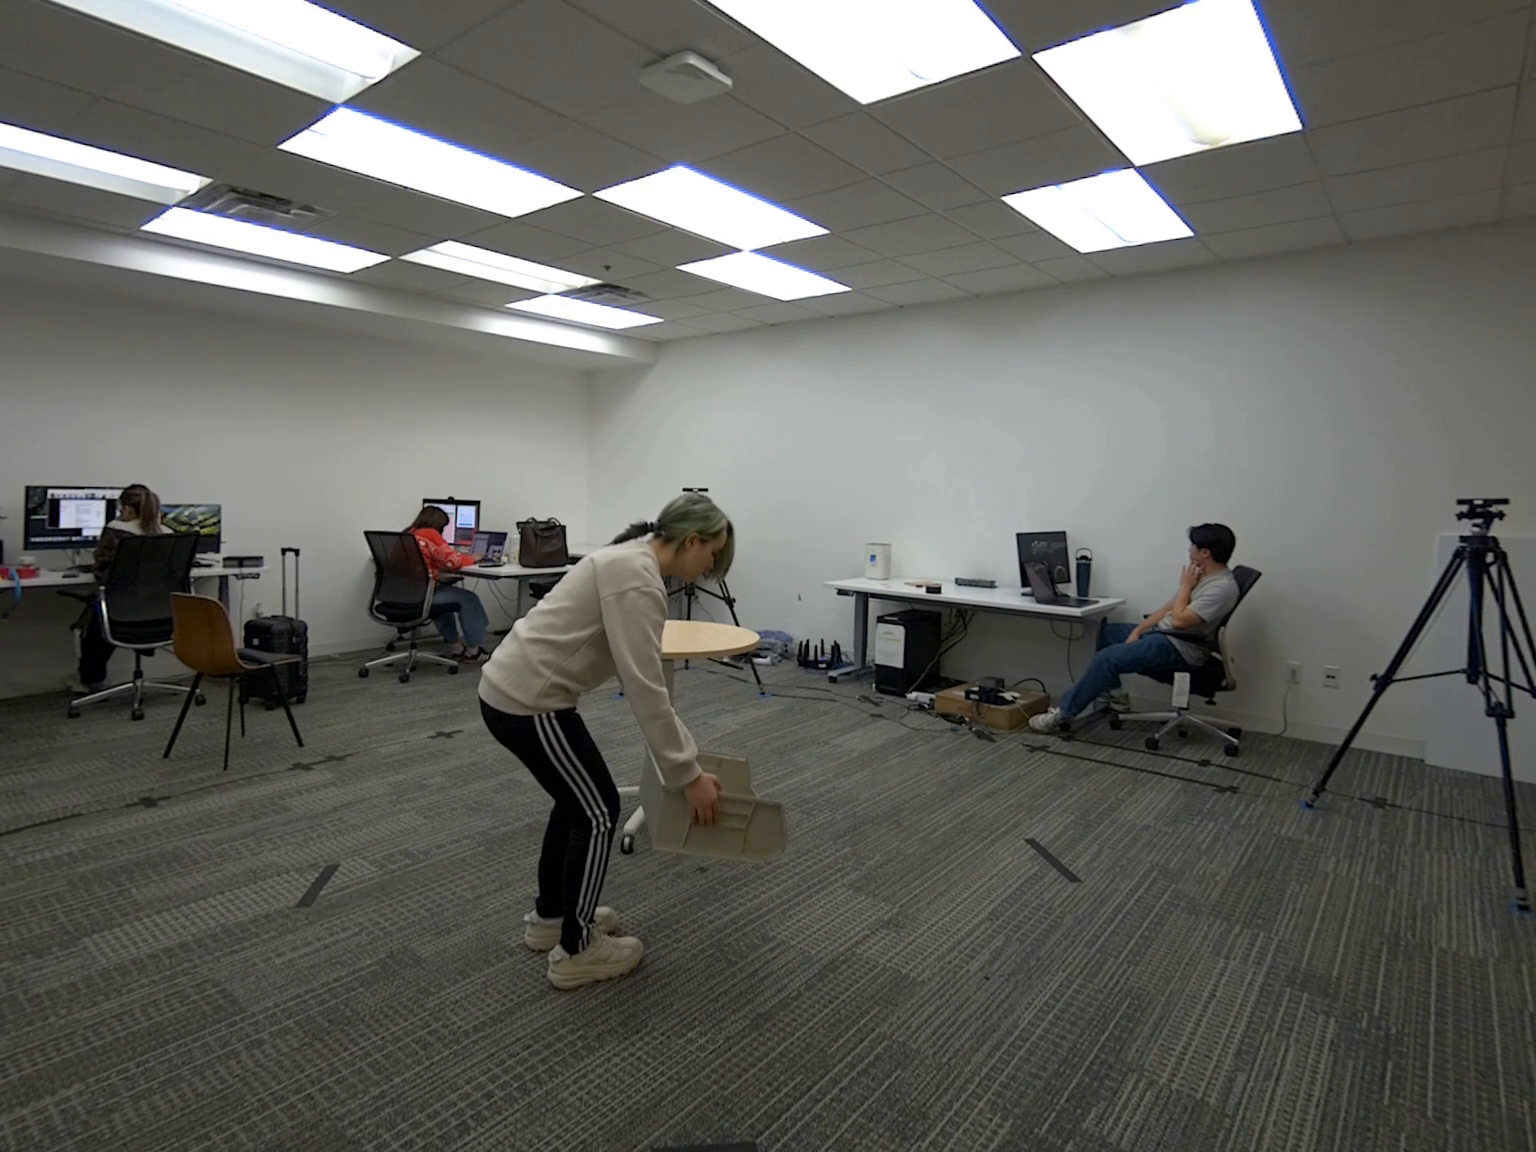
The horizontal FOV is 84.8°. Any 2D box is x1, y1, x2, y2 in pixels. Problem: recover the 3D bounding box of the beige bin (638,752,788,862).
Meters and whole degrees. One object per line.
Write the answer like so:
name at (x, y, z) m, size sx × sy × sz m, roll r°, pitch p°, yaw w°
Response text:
beige bin at (-0.184, 0.665, 2.496) m, size 0.371 × 0.189 × 0.430 m, roll 11°, pitch 2°, yaw -14°
